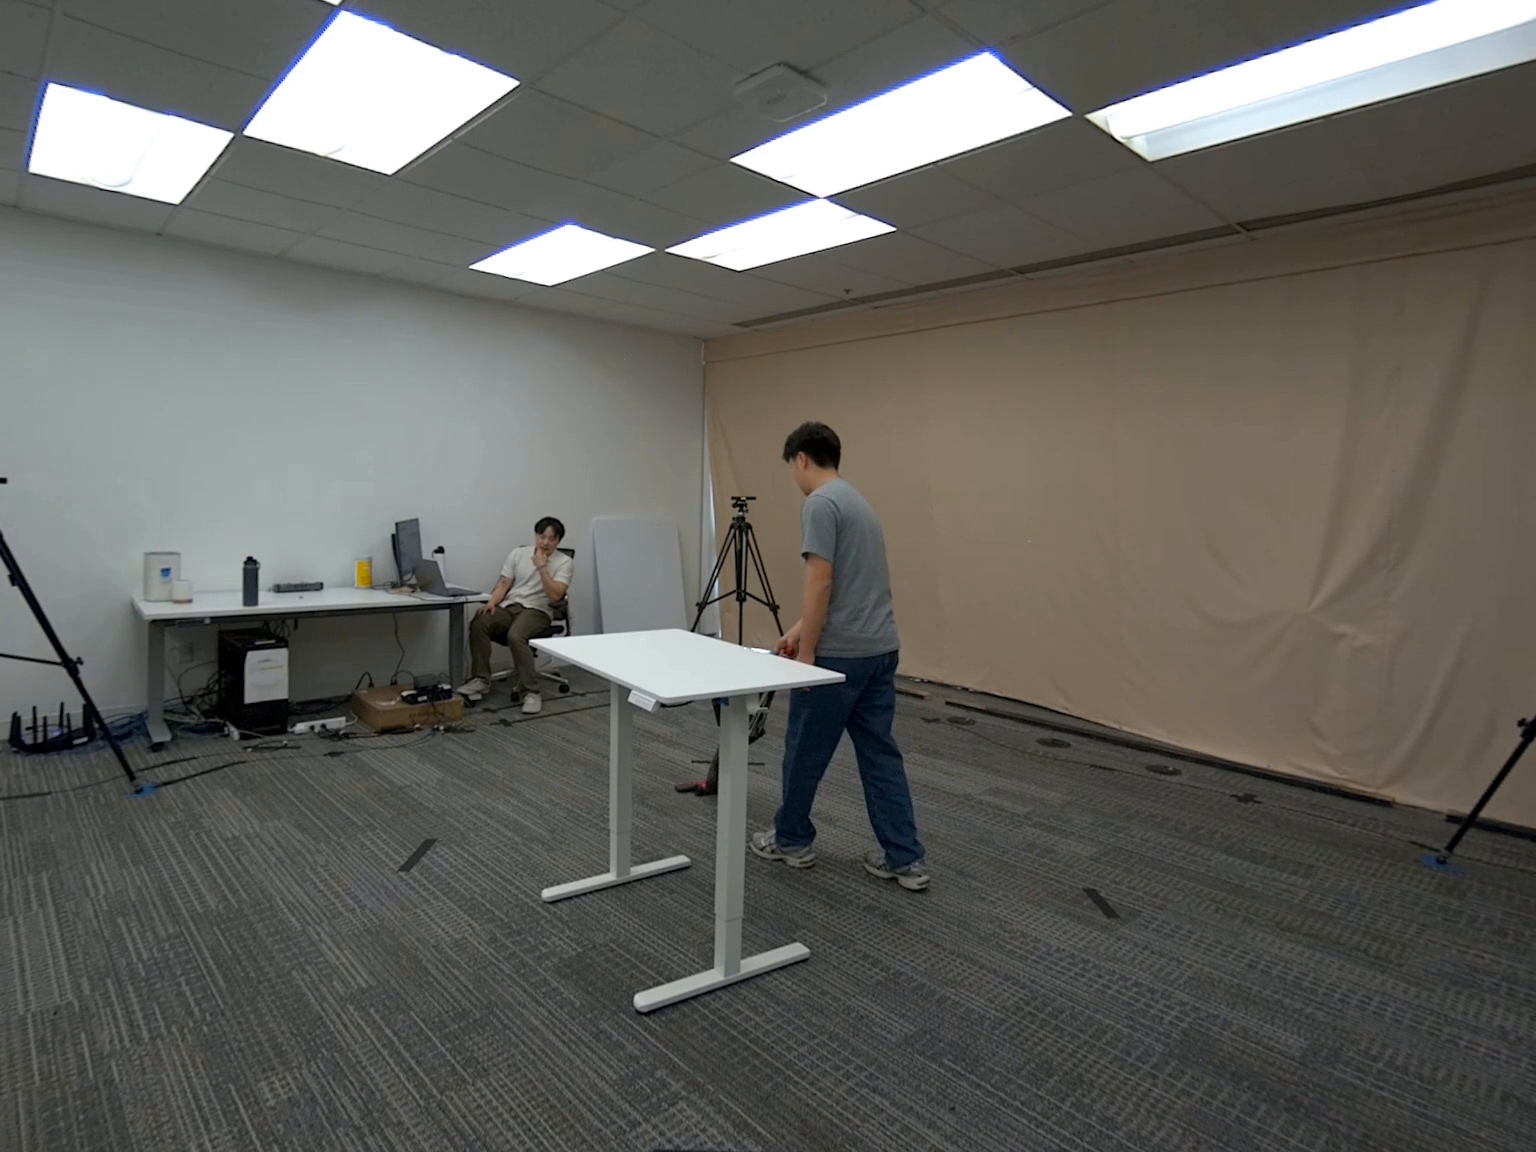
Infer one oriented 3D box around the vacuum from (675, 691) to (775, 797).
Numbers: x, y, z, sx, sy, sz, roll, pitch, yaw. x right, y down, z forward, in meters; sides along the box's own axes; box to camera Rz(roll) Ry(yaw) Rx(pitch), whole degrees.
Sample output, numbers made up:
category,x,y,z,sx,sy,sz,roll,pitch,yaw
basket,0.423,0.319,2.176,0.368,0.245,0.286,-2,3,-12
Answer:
category,x,y,z,sx,sy,sz,roll,pitch,yaw
vacuum,-0.119,0.667,3.701,0.247,1.041,0.148,-3,49,-35
